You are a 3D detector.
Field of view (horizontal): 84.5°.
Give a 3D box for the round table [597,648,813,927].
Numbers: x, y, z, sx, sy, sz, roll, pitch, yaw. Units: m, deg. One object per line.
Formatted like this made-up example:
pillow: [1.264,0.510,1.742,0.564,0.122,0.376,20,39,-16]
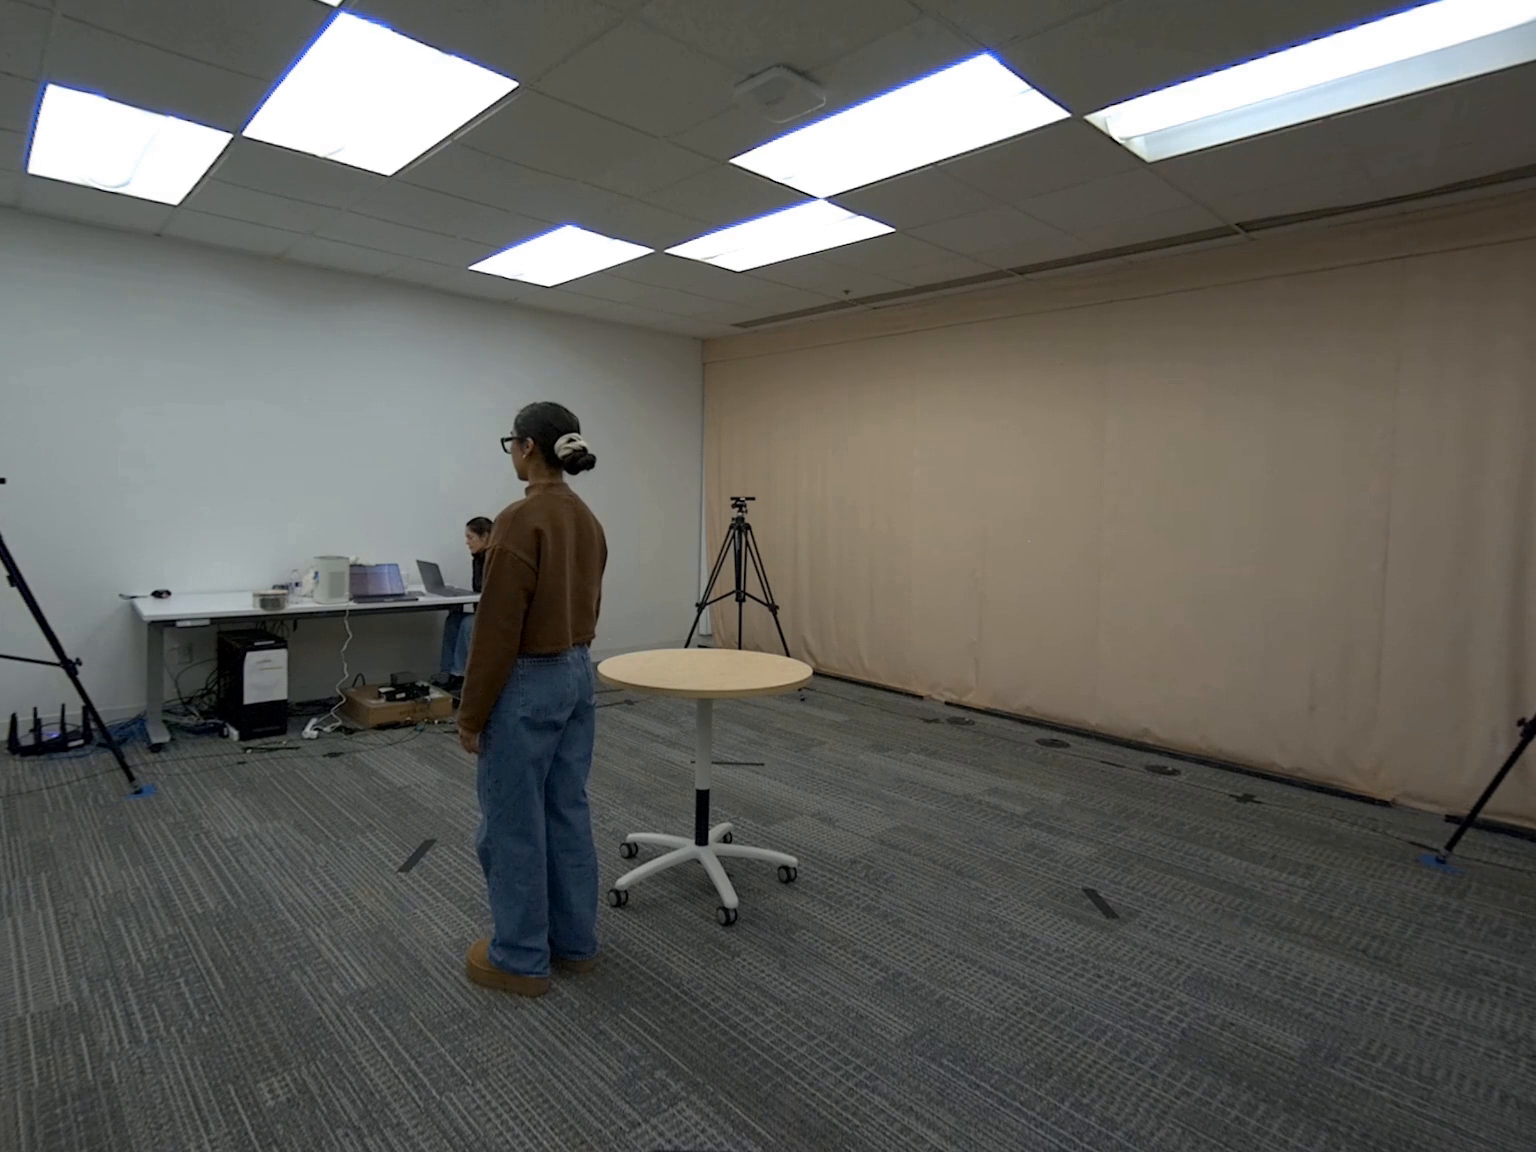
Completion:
round table: [-0.237,0.721,3.029,0.763,0.792,0.766,1,4,-1]
